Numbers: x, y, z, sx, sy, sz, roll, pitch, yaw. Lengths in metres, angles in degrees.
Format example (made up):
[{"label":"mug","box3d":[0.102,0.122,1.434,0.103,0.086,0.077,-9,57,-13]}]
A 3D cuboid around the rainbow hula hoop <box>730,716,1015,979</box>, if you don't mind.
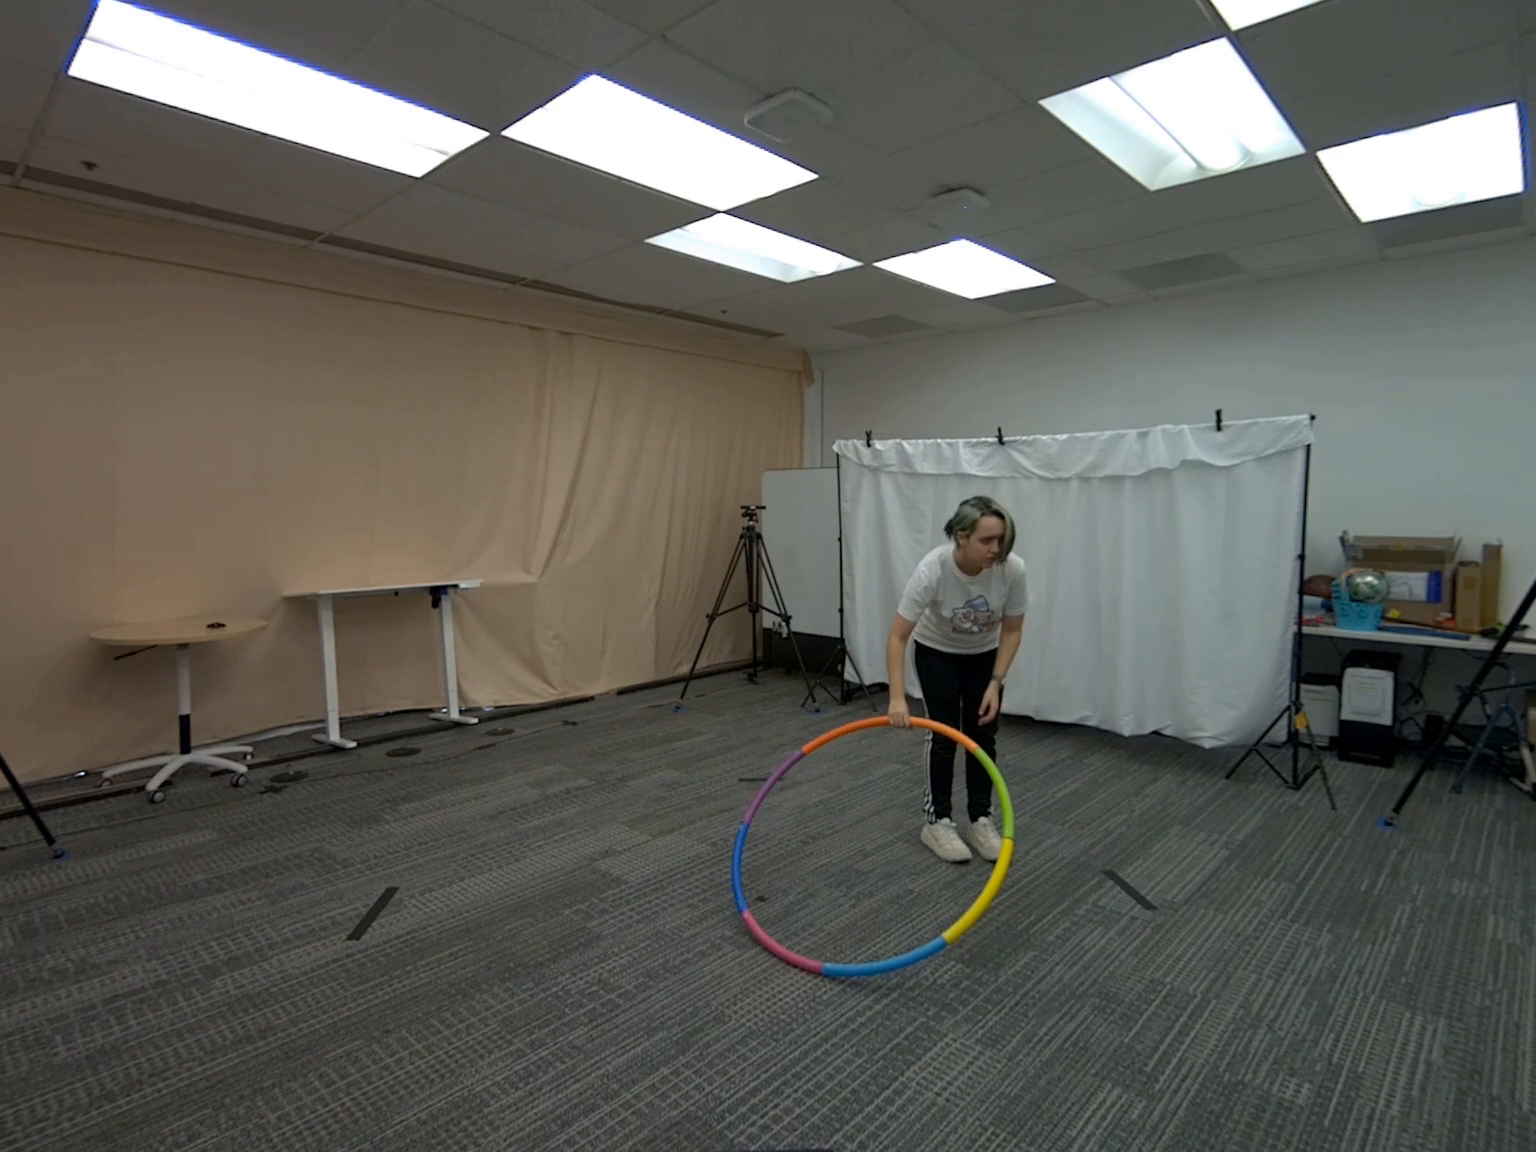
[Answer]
[{"label":"rainbow hula hoop","box3d":[0.327,0.851,2.817,0.988,0.034,0.996,-22,31,12]}]
